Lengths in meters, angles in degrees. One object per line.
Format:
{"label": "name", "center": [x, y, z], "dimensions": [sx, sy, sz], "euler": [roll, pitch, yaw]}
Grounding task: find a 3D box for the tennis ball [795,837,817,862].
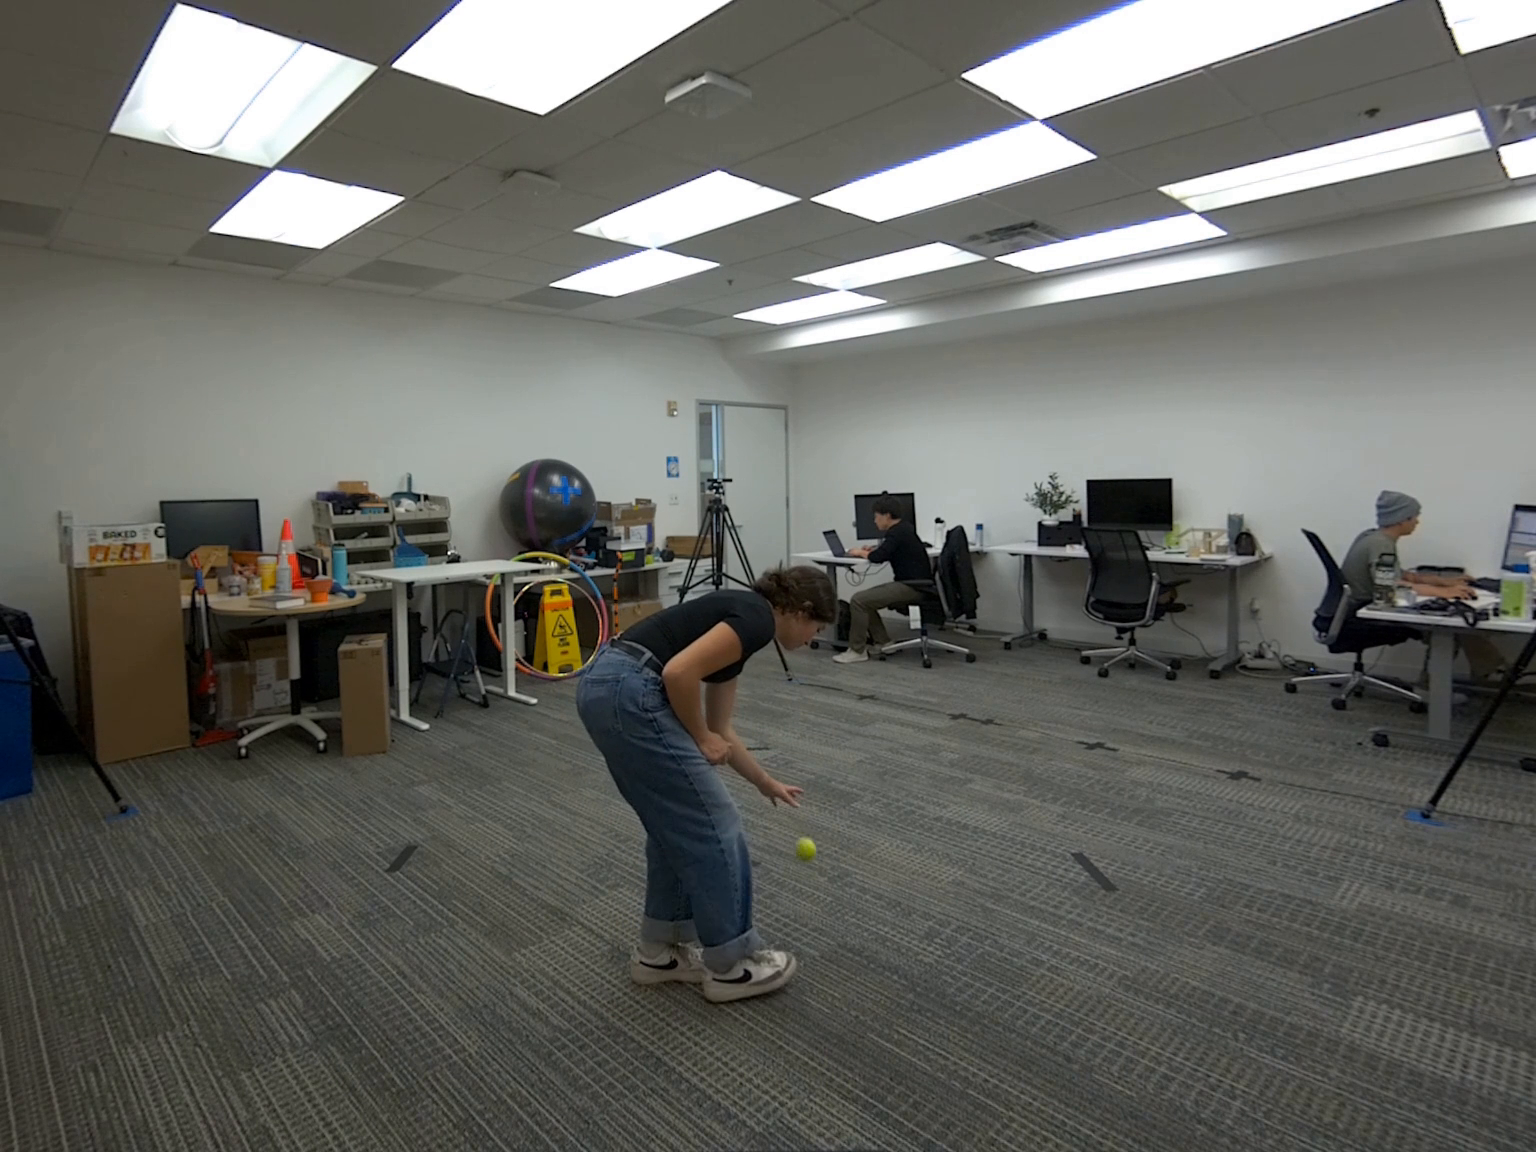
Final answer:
{"label": "tennis ball", "center": [0.126, 0.844, 2.648], "dimensions": [0.066, 0.066, 0.067], "euler": [-1, 5, -2]}
